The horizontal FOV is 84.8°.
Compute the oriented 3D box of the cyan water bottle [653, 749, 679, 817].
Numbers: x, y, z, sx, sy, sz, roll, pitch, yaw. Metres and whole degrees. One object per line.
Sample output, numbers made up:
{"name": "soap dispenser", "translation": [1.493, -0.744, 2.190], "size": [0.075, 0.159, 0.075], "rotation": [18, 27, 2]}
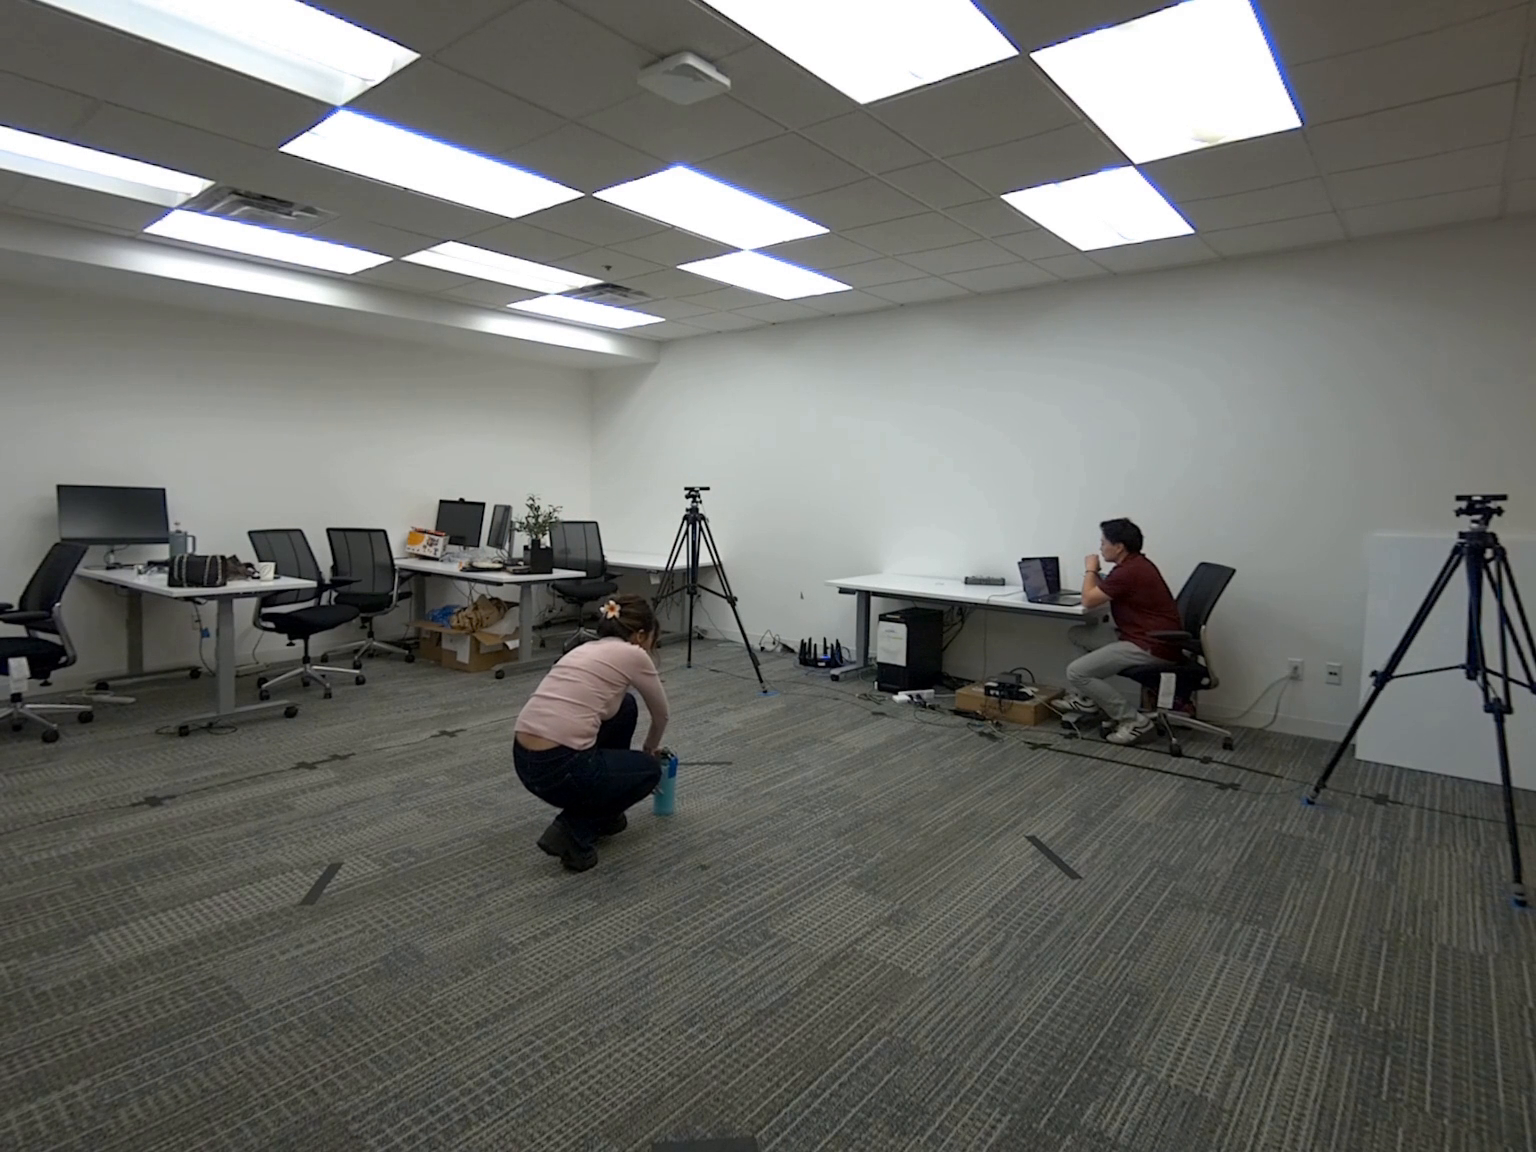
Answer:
{"name": "cyan water bottle", "translation": [-0.445, 0.876, 3.615], "size": [0.092, 0.280, 0.094], "rotation": [6, 14, -3]}
